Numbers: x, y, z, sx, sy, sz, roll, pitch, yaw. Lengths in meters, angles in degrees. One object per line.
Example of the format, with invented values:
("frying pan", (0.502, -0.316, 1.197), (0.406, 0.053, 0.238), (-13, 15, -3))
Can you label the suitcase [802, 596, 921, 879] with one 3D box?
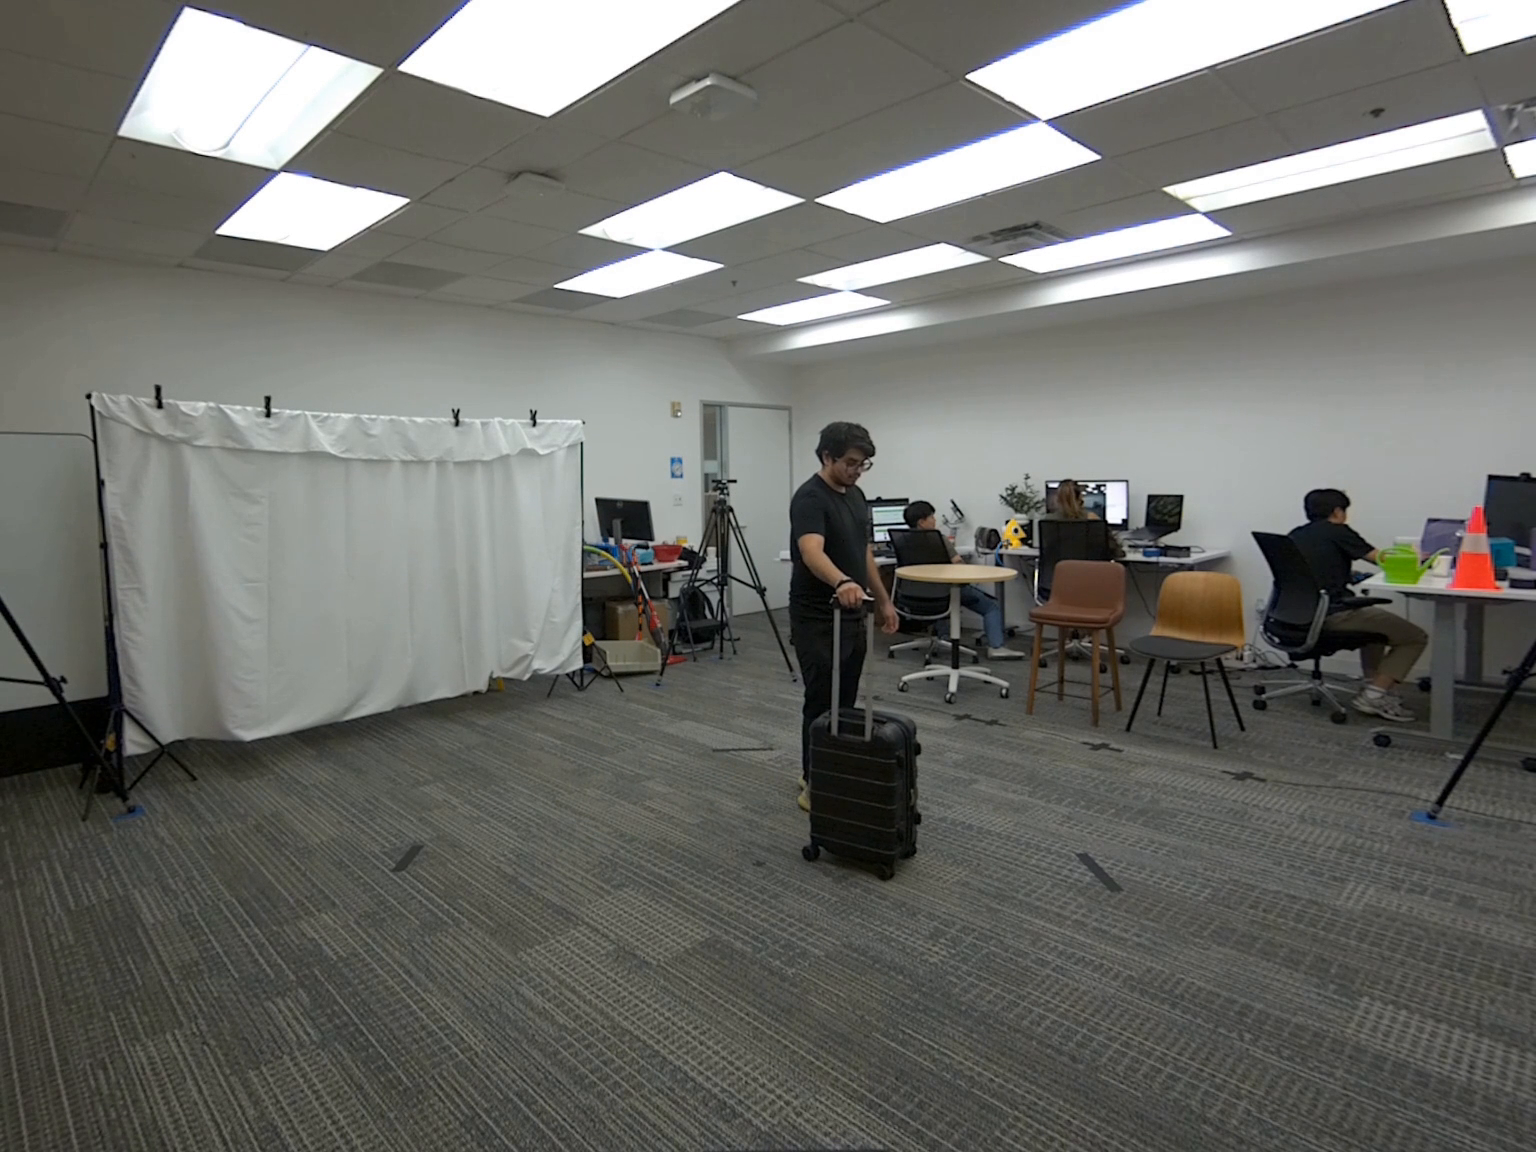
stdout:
("suitcase", (0.350, 0.569, 3.106), (0.395, 0.975, 0.250), (3, 4, 34))
